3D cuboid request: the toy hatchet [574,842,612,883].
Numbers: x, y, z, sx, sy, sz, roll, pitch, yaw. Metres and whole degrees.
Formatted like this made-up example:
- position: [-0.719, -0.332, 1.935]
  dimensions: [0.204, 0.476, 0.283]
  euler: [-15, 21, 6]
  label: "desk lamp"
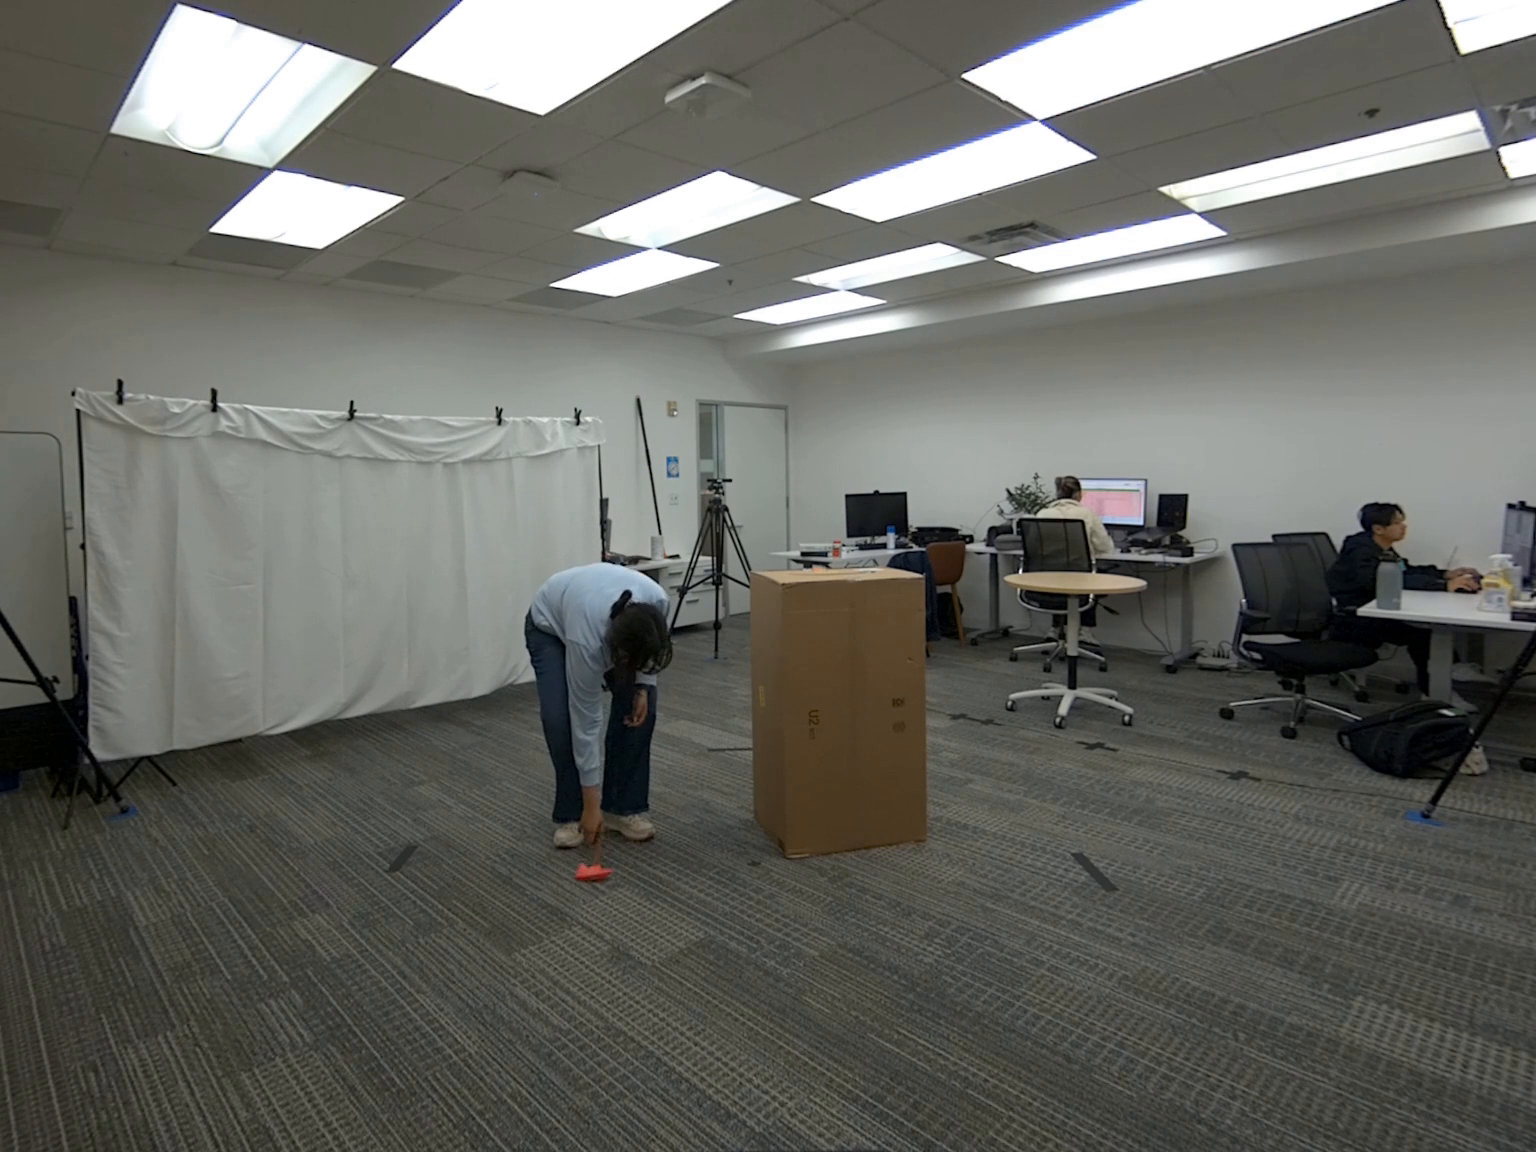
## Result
- position: [-0.660, 1.009, 3.096]
  dimensions: [0.129, 0.029, 0.280]
  euler: [-20, 29, -19]
  label: "toy hatchet"
